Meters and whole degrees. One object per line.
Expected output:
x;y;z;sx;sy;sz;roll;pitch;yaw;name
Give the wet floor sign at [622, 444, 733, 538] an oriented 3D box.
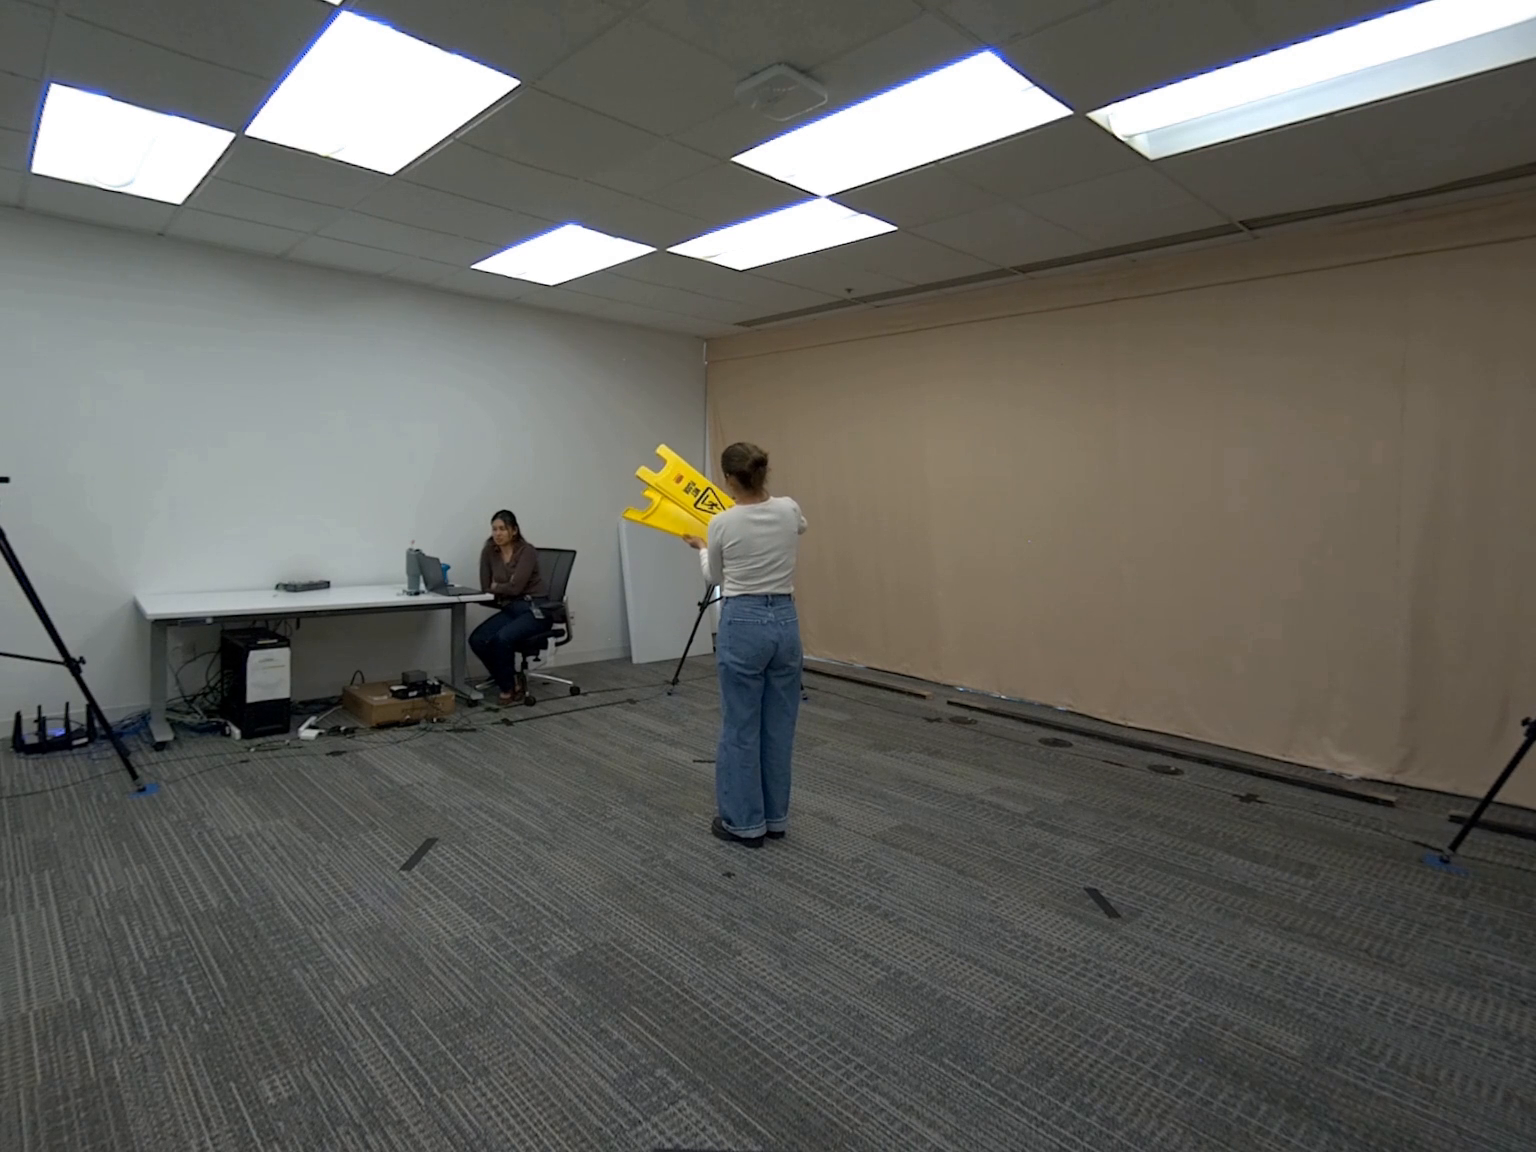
-0.297;-0.275;3.776;0.649;0.287;0.284;29;42;4;wet floor sign
